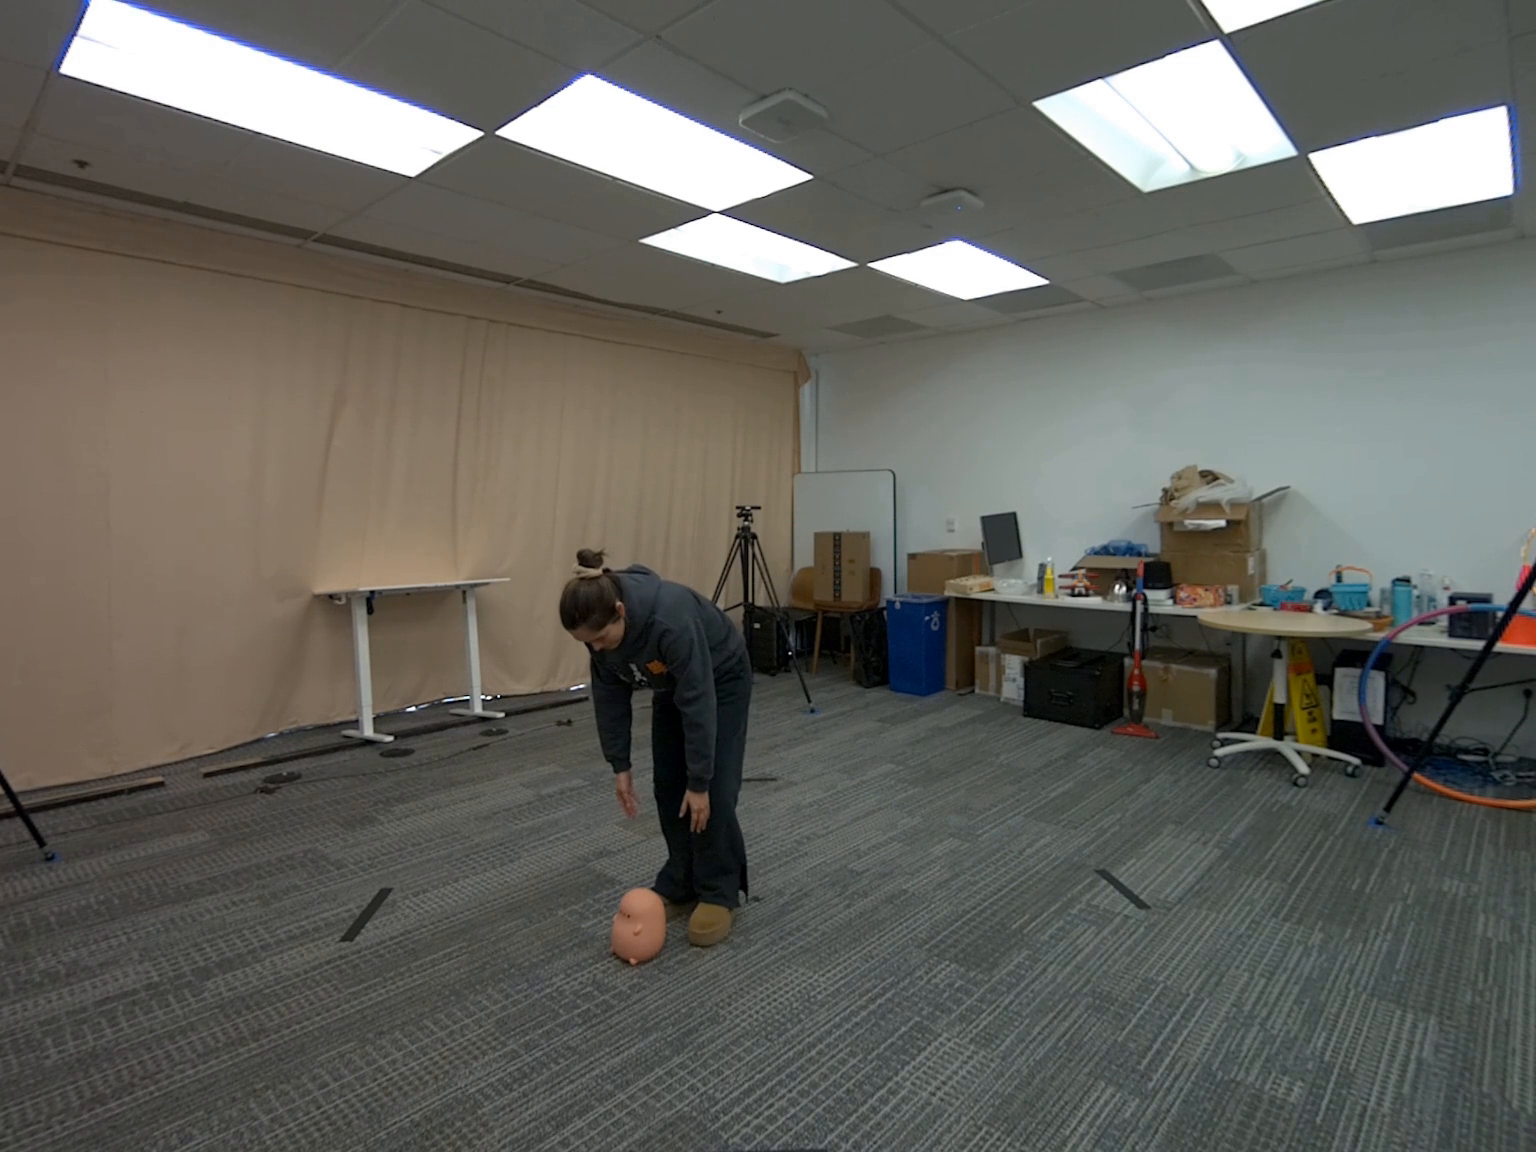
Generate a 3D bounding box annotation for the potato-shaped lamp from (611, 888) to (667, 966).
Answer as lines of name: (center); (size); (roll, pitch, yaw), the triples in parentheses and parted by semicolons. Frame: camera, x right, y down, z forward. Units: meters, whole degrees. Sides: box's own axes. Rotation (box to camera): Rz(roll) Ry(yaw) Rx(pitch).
potato-shaped lamp: (-0.382, 1.077, 2.626); (0.166, 0.198, 0.170); (-4, 3, -38)
